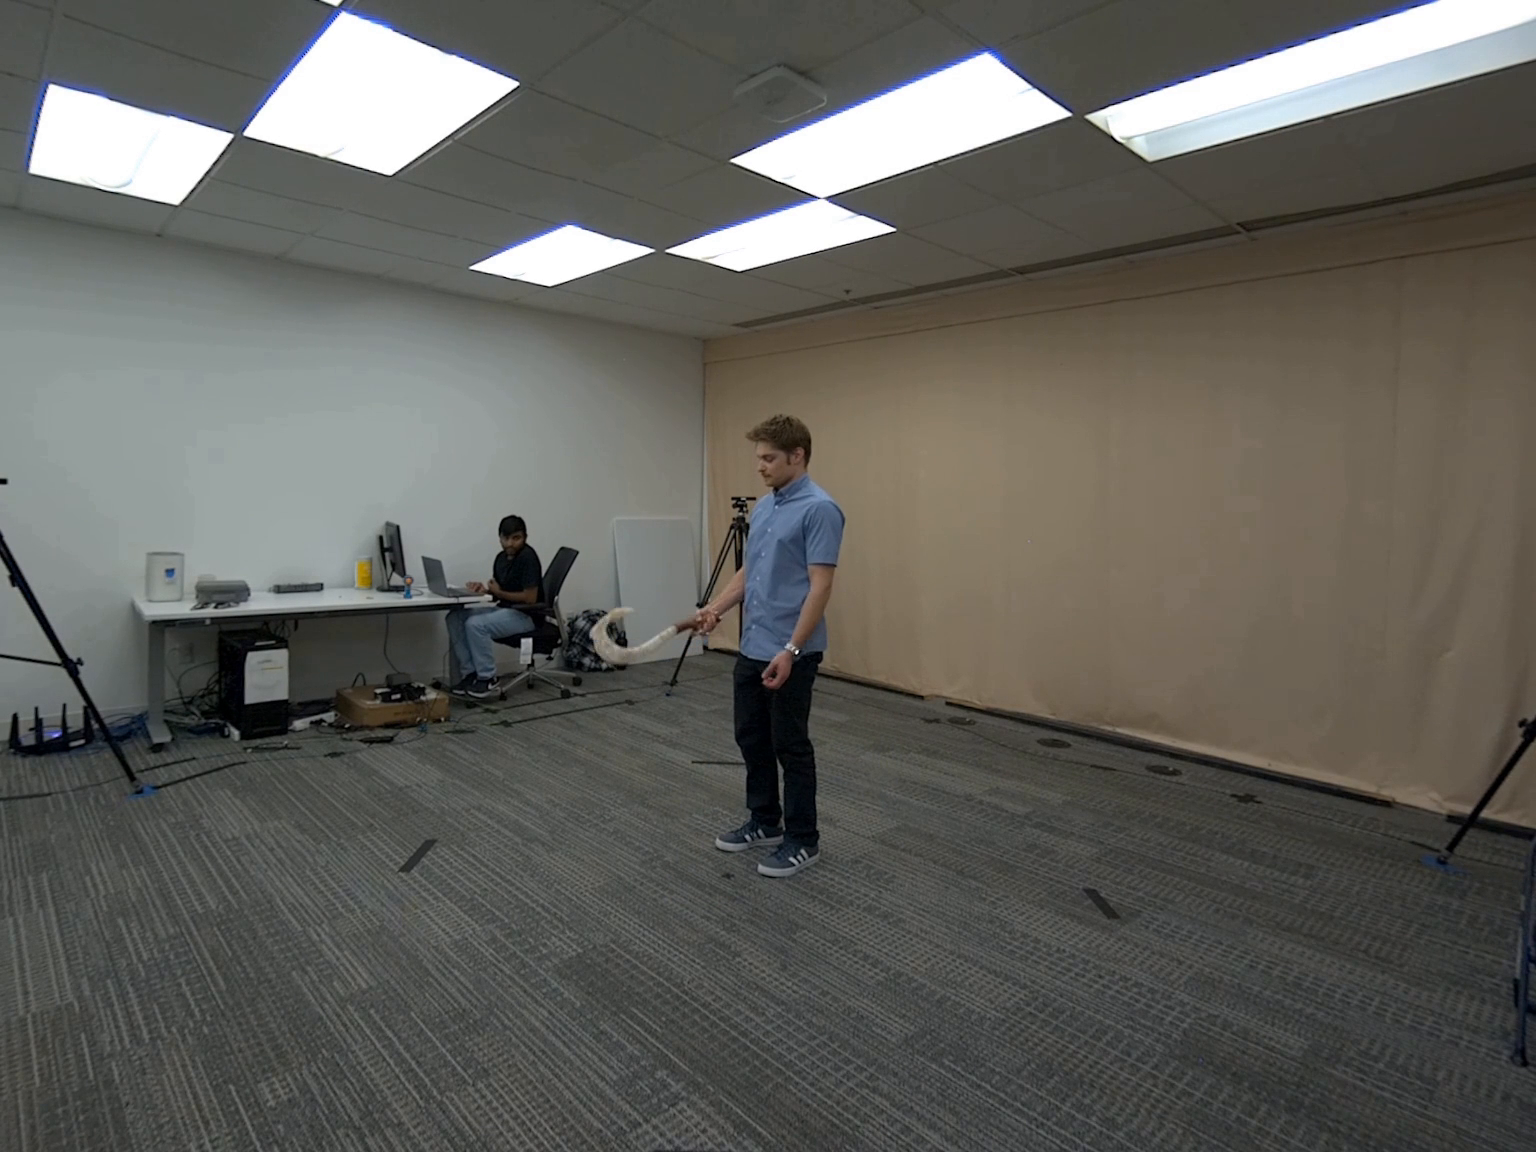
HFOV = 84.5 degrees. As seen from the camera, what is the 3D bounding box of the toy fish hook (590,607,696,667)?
[{"bbox_3d":[-0.393,0.164,3.135,0.500,0.230,0.048,-17,-27,-24],"label":"toy fish hook"}]
